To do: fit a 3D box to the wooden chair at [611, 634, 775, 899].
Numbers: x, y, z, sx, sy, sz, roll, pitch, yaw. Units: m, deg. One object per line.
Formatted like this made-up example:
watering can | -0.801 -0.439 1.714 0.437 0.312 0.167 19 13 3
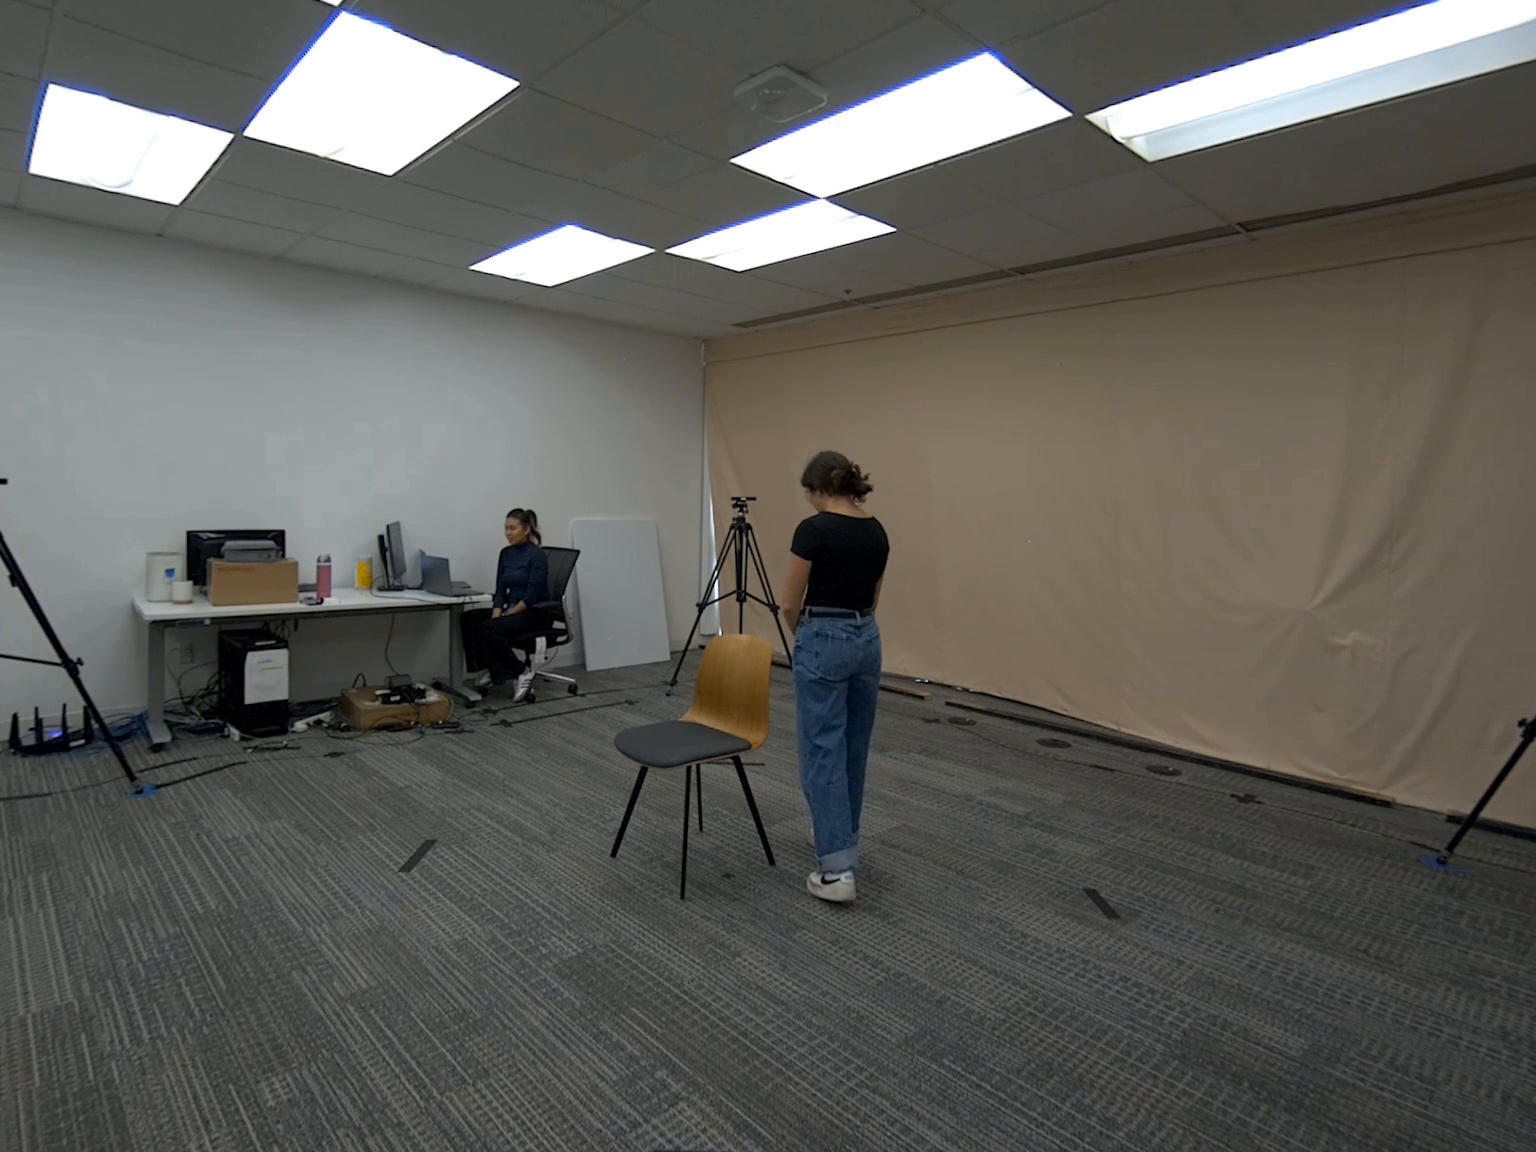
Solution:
wooden chair | -0.287 0.667 3.191 0.510 0.877 0.490 5 0 -43
